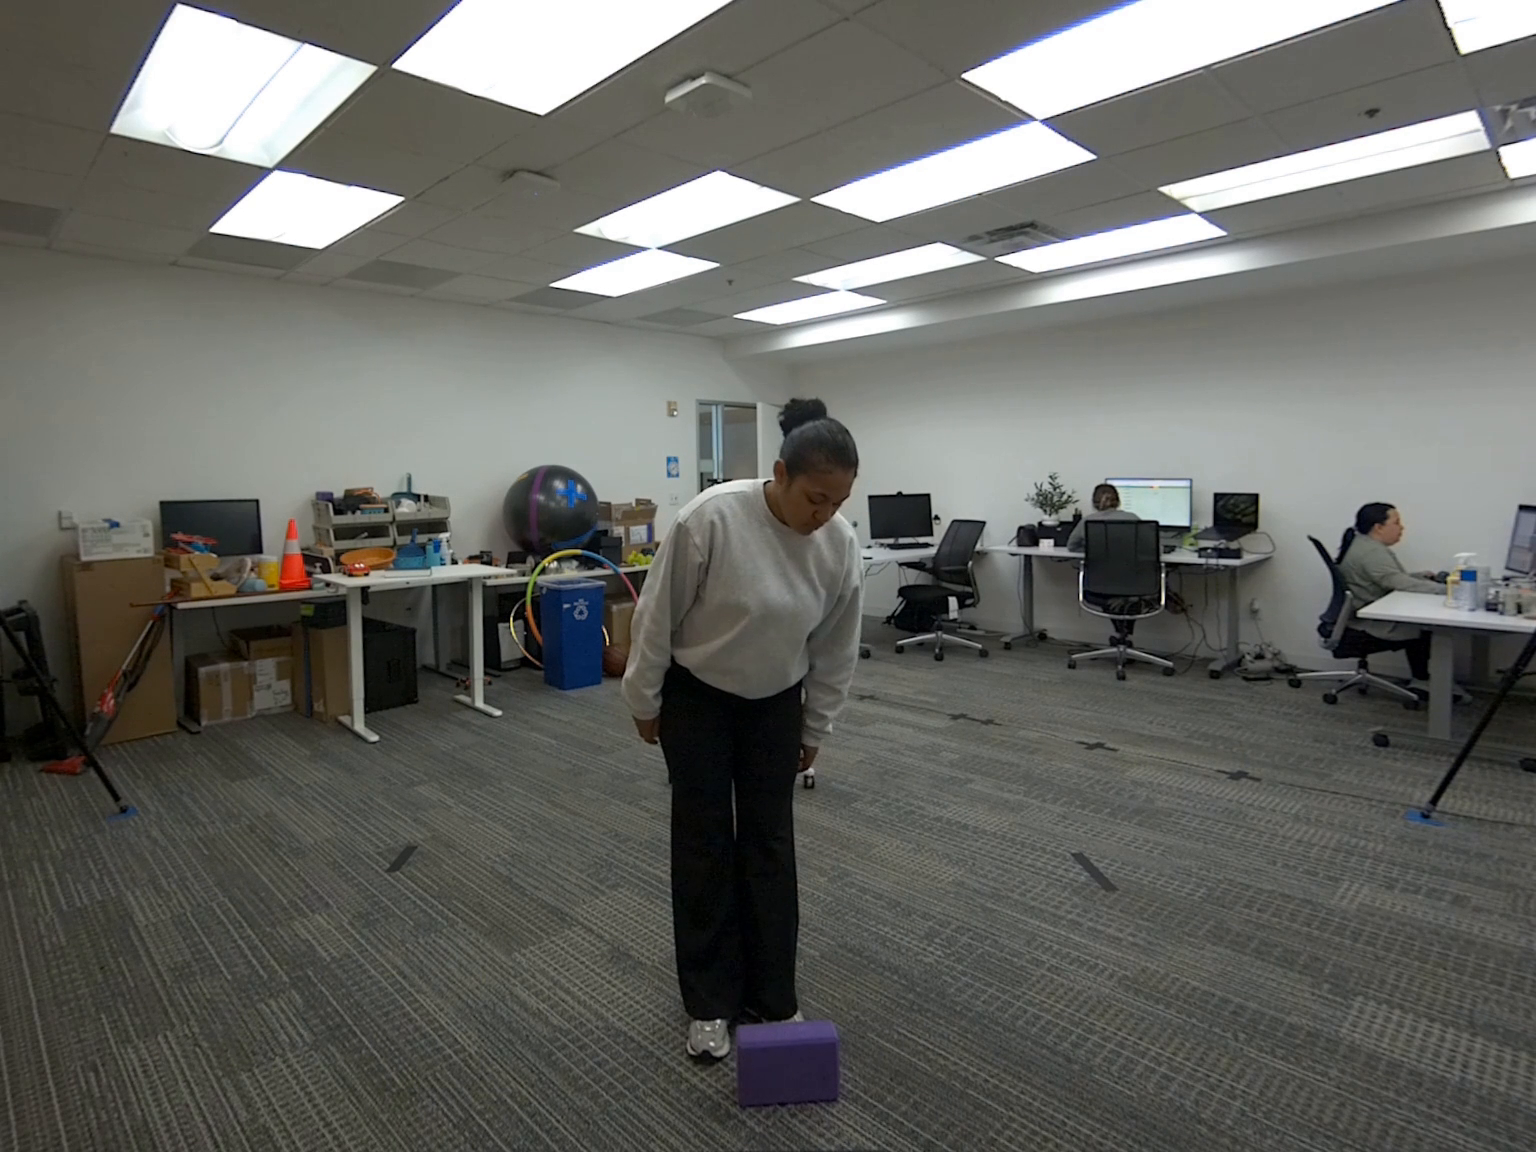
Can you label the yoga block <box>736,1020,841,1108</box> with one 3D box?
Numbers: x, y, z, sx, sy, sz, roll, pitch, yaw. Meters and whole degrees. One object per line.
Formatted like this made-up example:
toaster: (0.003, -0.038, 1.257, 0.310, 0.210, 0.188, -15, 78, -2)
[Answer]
yoga block: (0.051, 1.108, 1.939, 0.228, 0.148, 0.077, -1, 4, -5)
